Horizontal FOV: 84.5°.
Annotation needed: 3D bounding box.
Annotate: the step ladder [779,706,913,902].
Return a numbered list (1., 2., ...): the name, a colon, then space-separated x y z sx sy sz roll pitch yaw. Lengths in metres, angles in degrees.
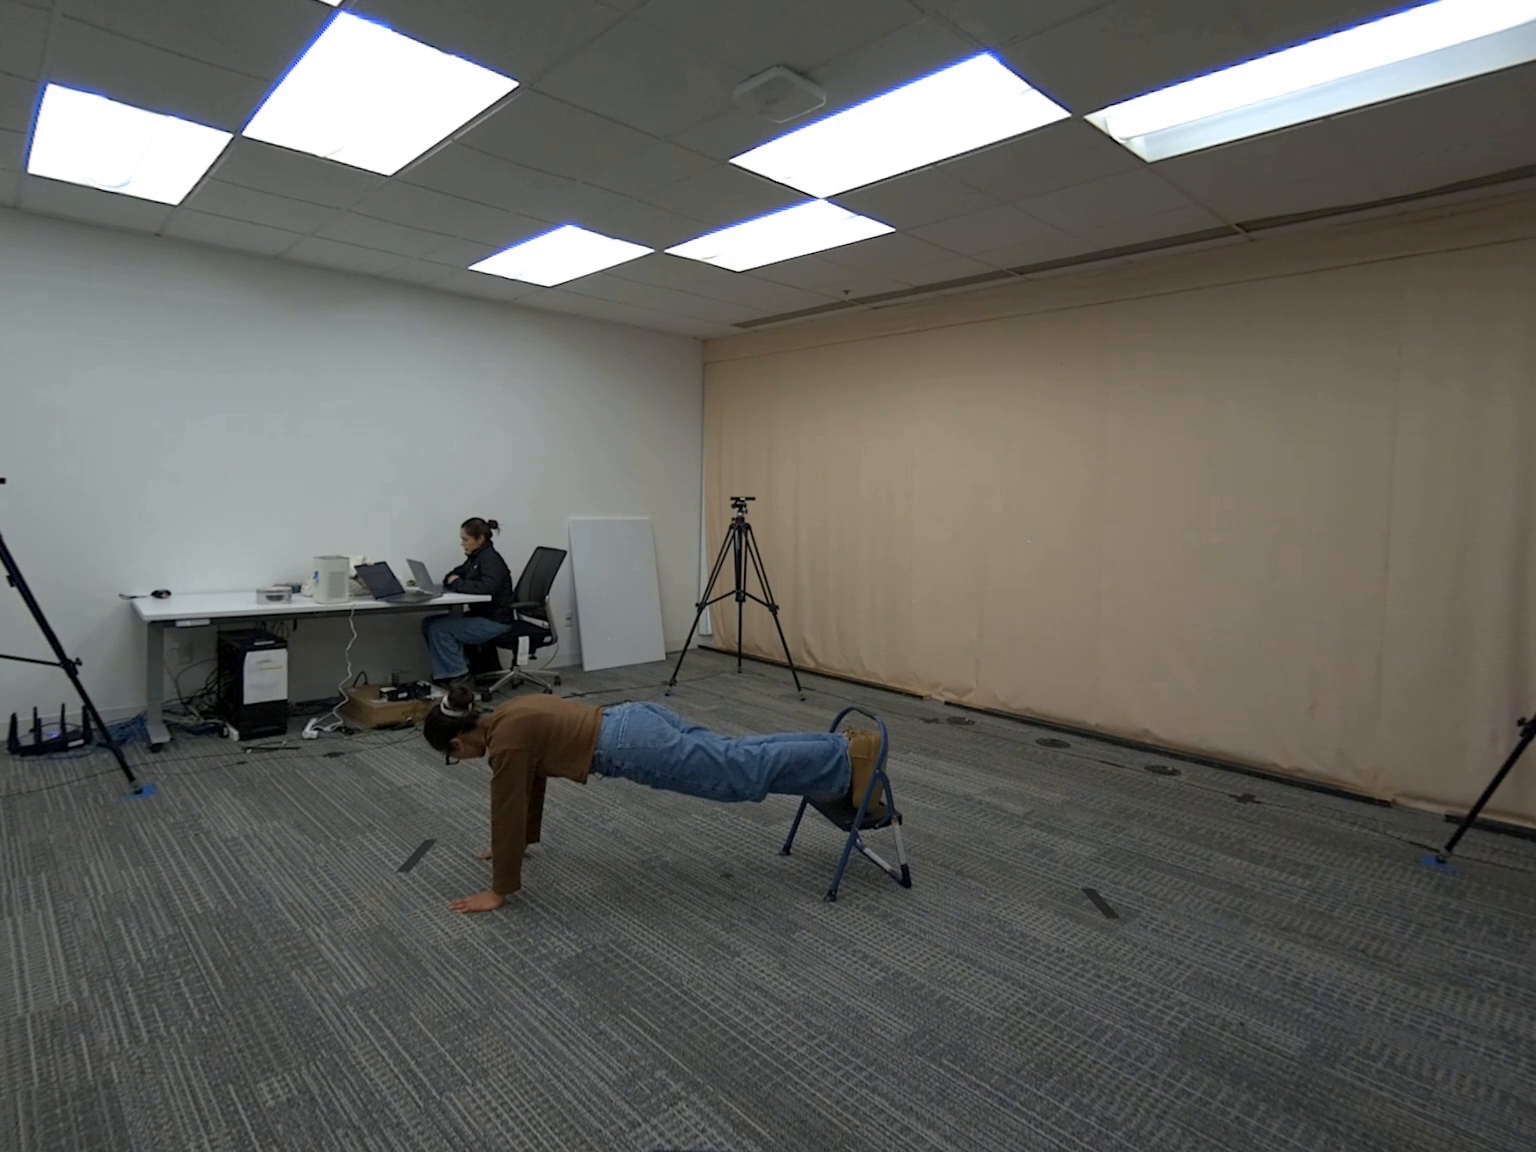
1. step ladder: 0.284 0.811 3.158 0.343 0.605 0.439 0 4 -22
